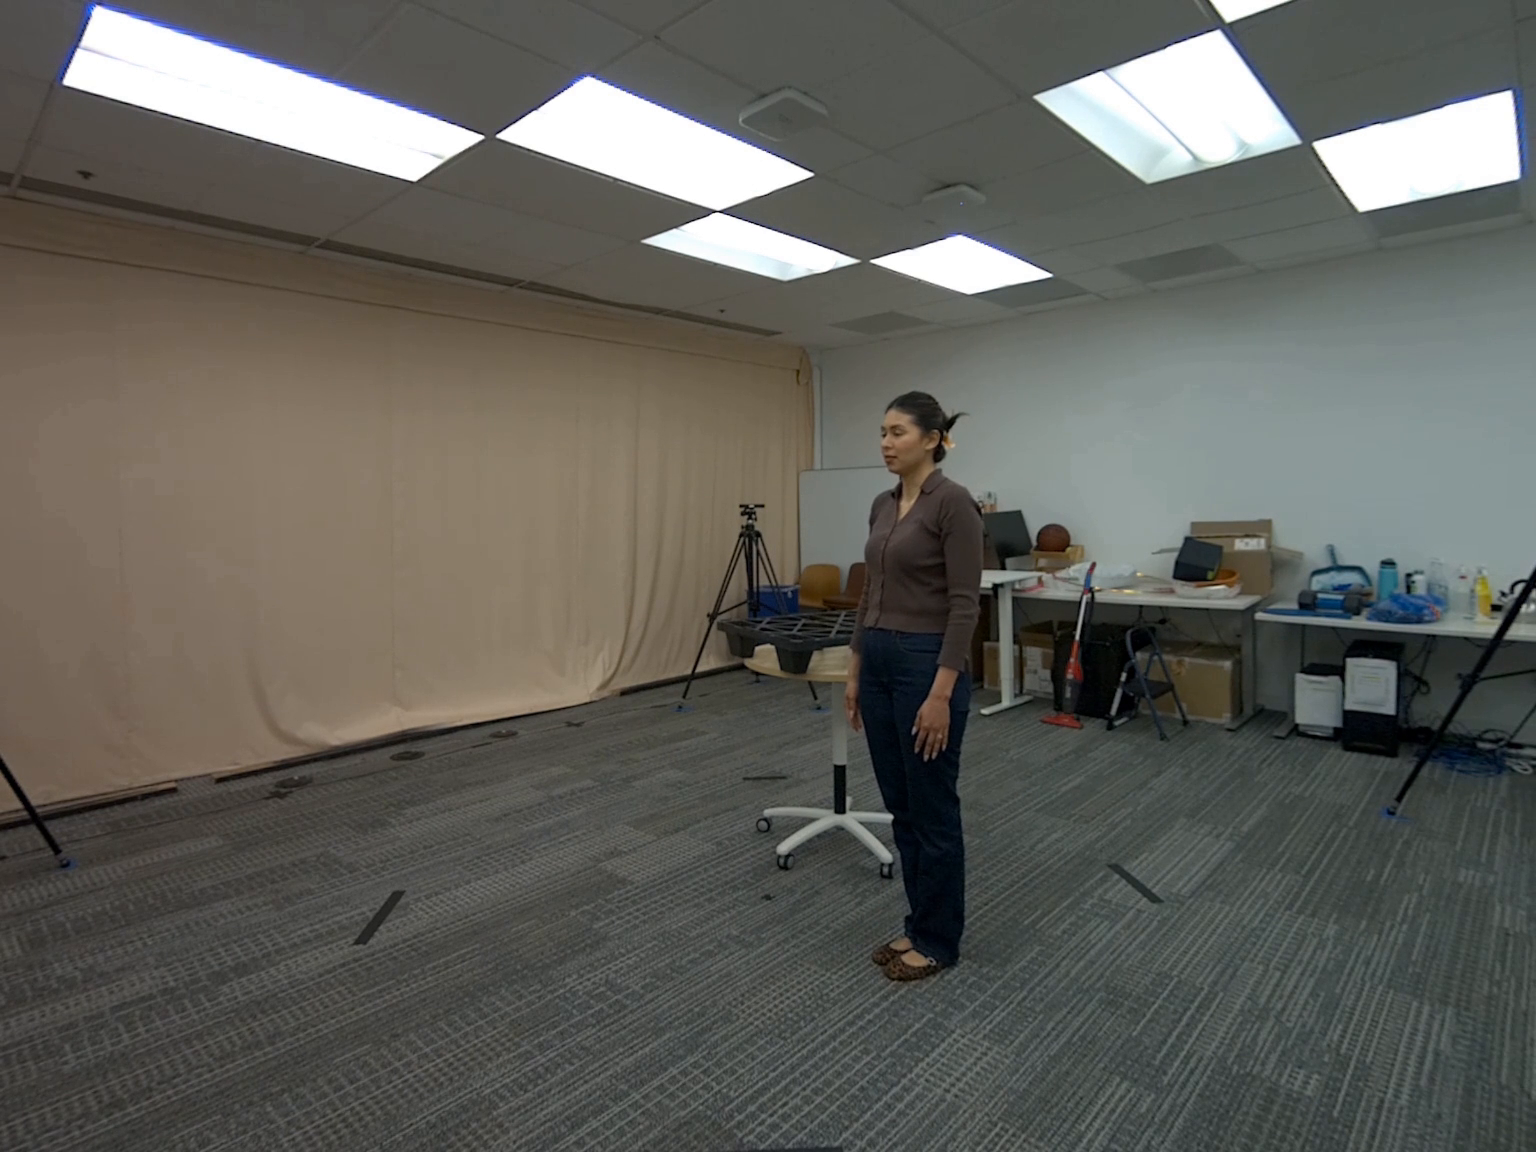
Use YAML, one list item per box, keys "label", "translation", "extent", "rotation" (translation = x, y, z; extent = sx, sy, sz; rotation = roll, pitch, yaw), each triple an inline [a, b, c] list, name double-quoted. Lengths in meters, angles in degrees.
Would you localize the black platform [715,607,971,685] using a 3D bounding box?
- label: "black platform"
  translation: [0.287, 0.254, 3.372]
  extent: [0.784, 0.143, 0.623]
  rotation: [-3, 6, -30]
